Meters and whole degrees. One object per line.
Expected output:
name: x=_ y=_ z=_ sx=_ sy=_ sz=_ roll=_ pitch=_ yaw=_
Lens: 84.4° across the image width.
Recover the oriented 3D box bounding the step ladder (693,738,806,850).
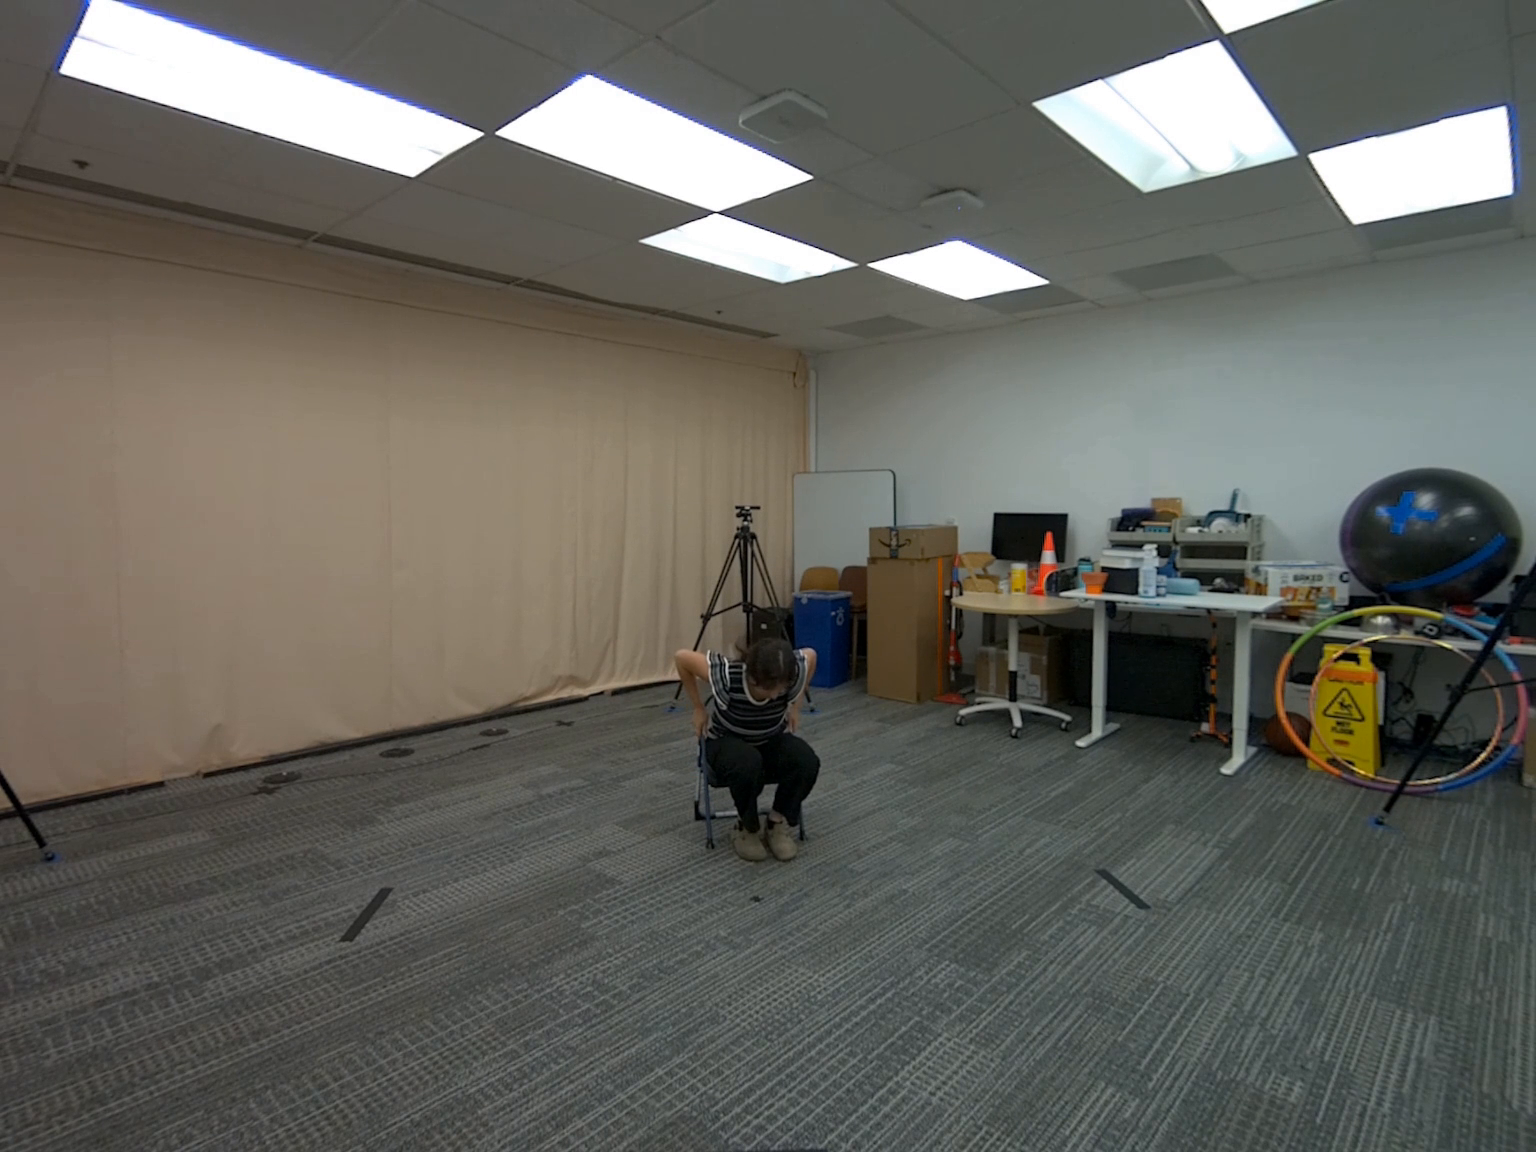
step ladder: x=-0.085 y=0.797 z=3.623 sx=0.424 sy=0.605 sz=0.355 roll=0 pitch=4 yaw=-14
